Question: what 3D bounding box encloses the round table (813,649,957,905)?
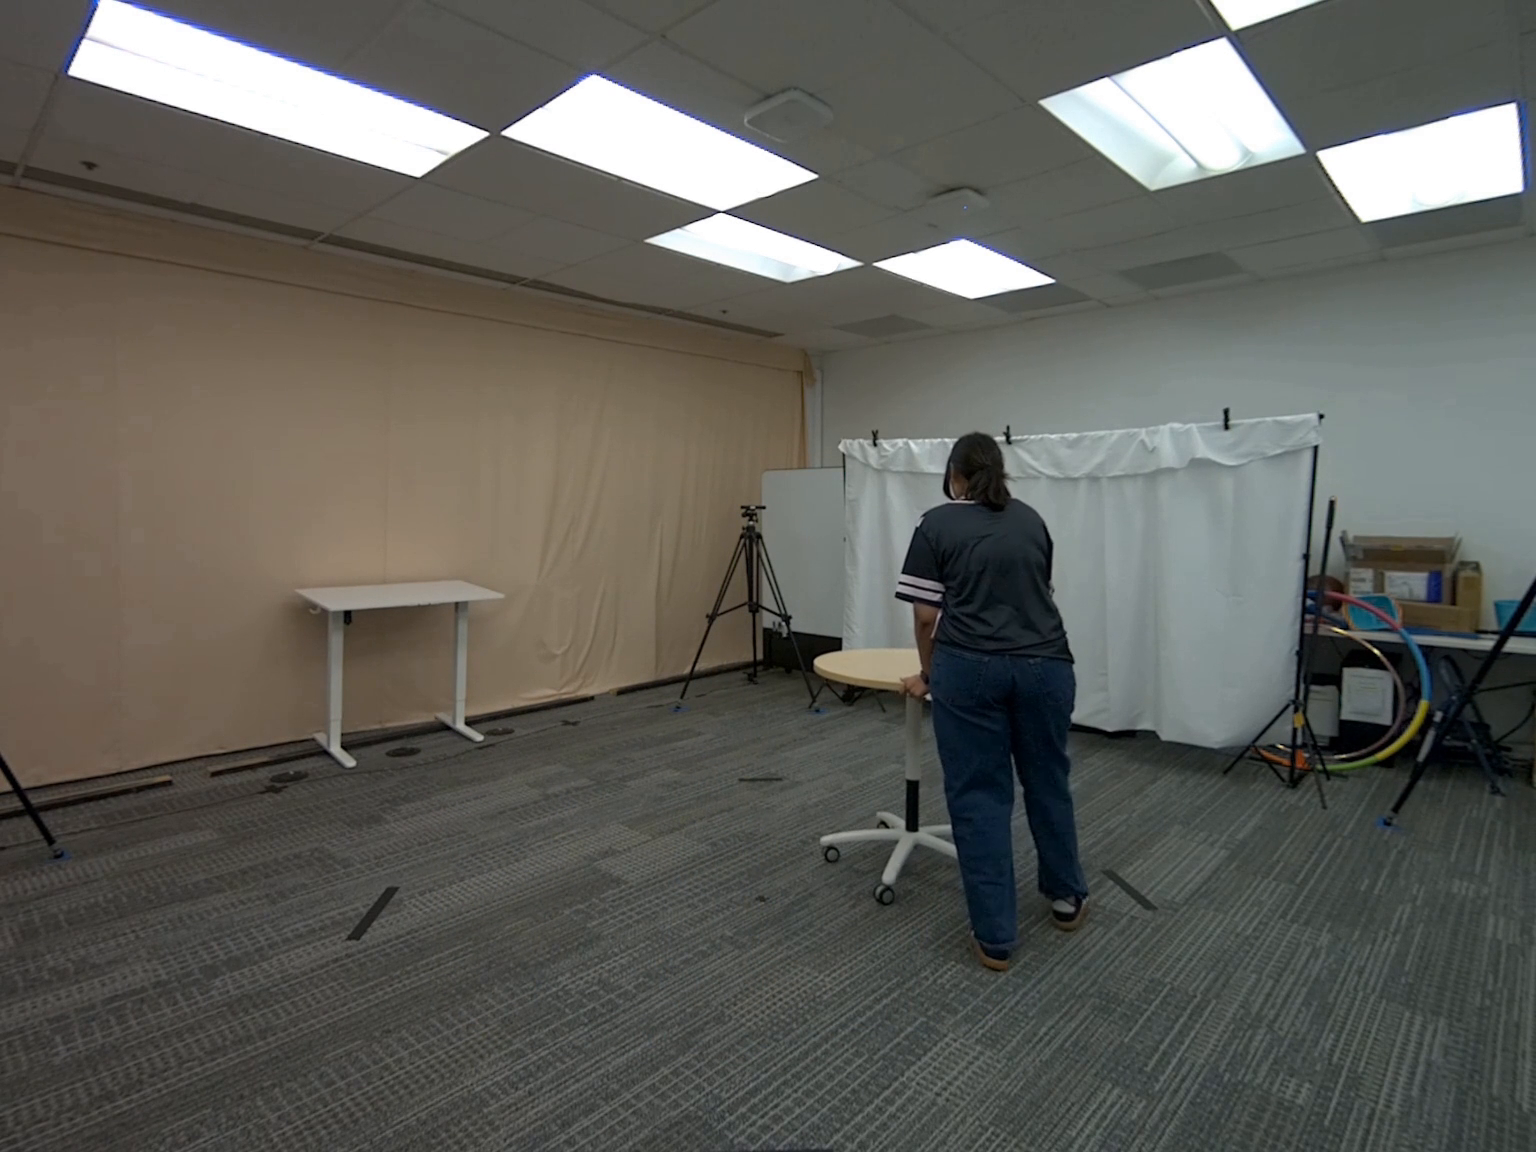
[{"bbox_3d":[0.544,0.727,3.217,0.784,0.785,0.788,0,4,-2],"label":"round table"}]
